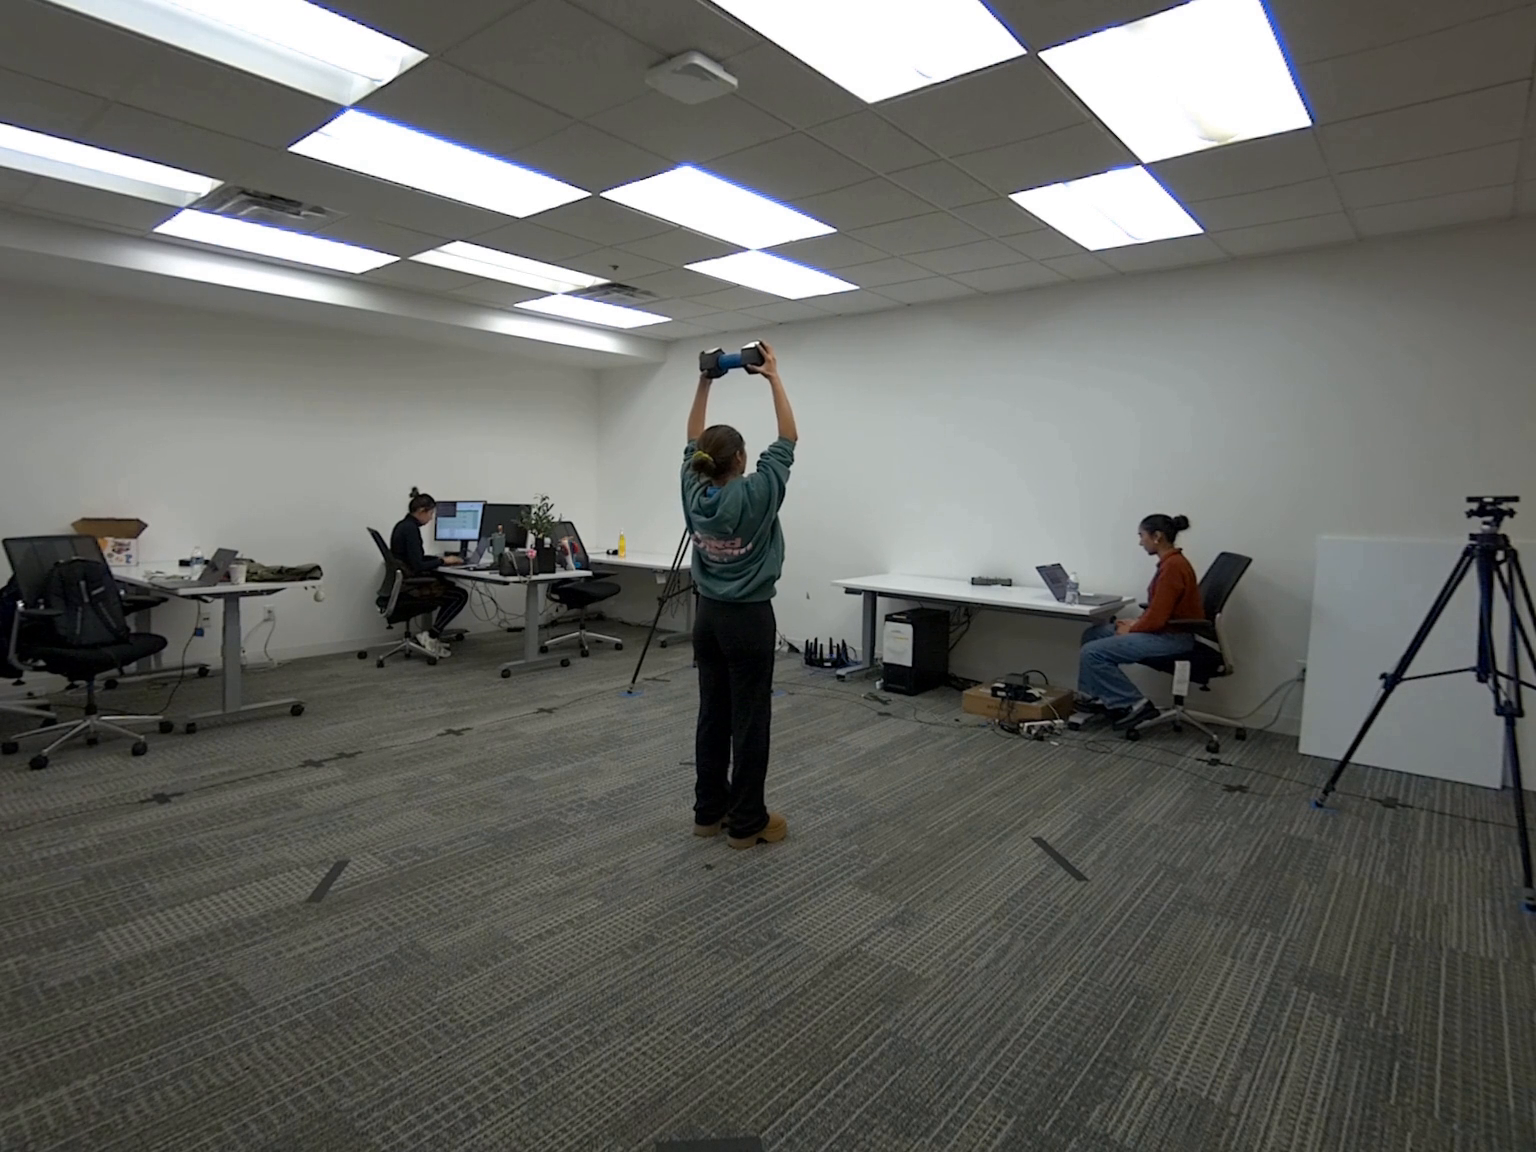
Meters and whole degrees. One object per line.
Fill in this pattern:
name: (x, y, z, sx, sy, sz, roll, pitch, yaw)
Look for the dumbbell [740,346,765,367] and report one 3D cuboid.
dumbbell: (-0.144, -0.843, 3.323, 0.303, 0.123, 0.105, 5, 2, 39)
